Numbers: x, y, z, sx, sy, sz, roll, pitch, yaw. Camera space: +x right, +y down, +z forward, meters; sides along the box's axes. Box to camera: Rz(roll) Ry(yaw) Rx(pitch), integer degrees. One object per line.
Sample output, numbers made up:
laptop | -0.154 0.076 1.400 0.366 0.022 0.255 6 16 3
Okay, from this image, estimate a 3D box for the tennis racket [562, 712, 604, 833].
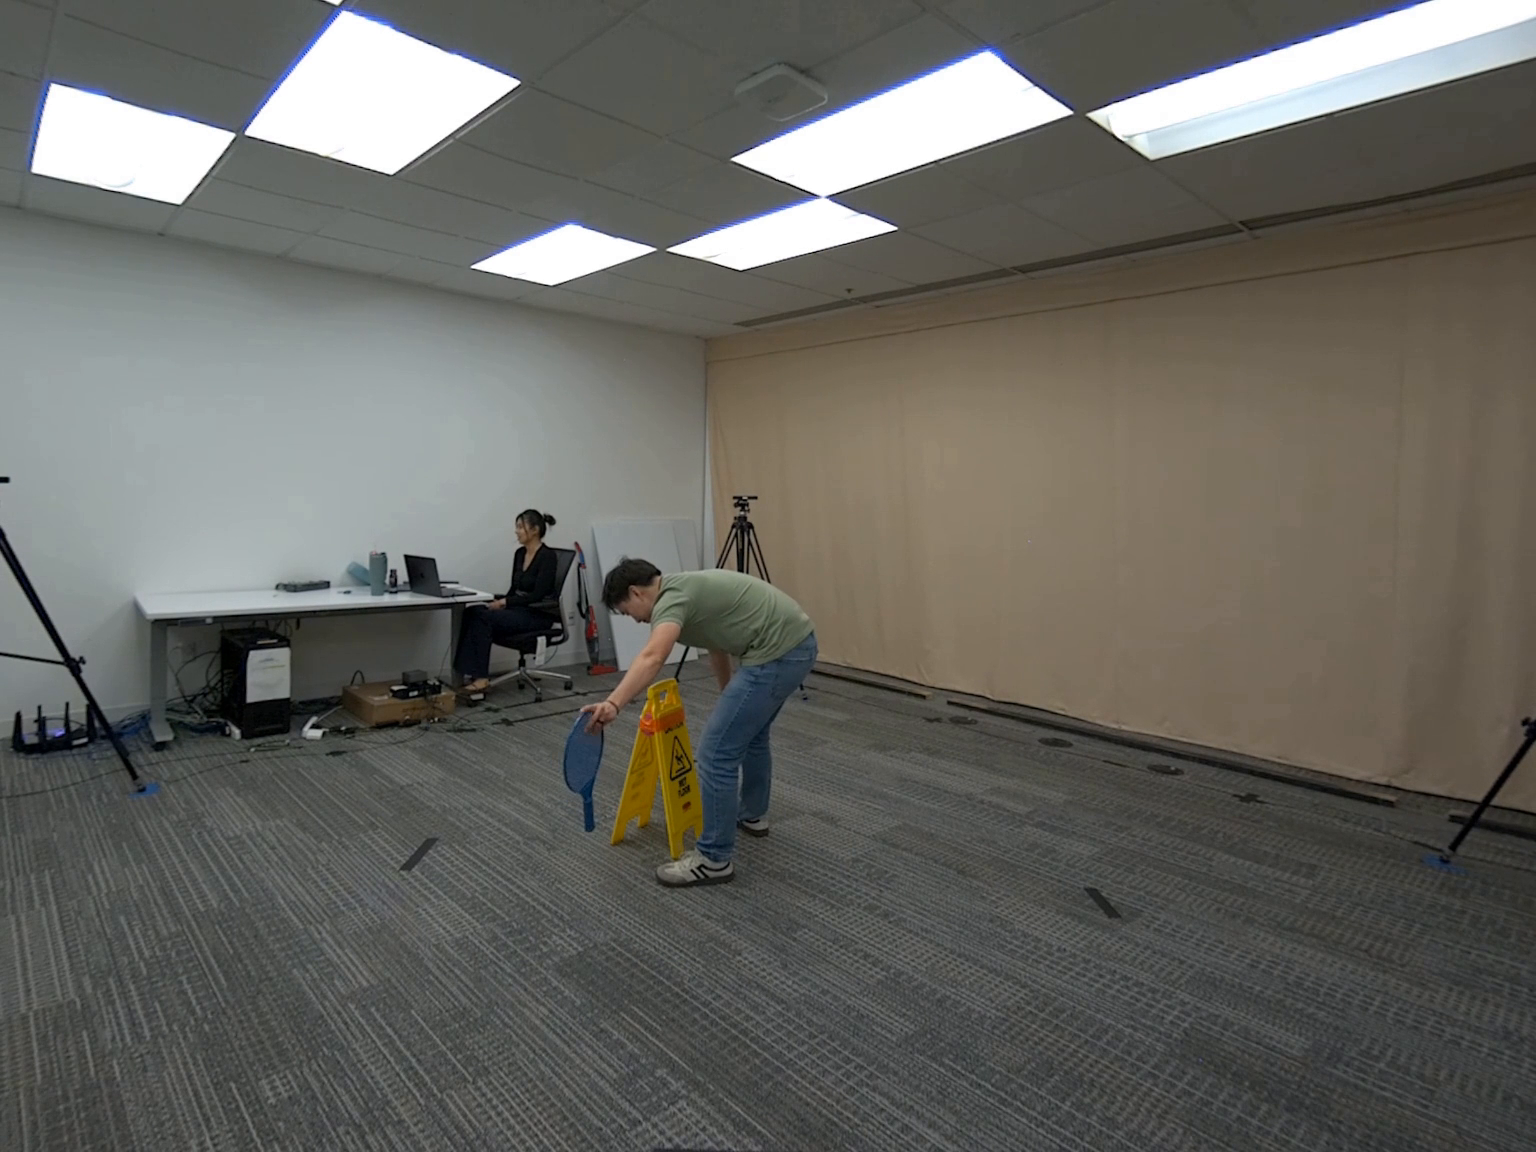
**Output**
tennis racket | -0.573 0.624 2.626 0.032 0.426 0.213 9 24 19
